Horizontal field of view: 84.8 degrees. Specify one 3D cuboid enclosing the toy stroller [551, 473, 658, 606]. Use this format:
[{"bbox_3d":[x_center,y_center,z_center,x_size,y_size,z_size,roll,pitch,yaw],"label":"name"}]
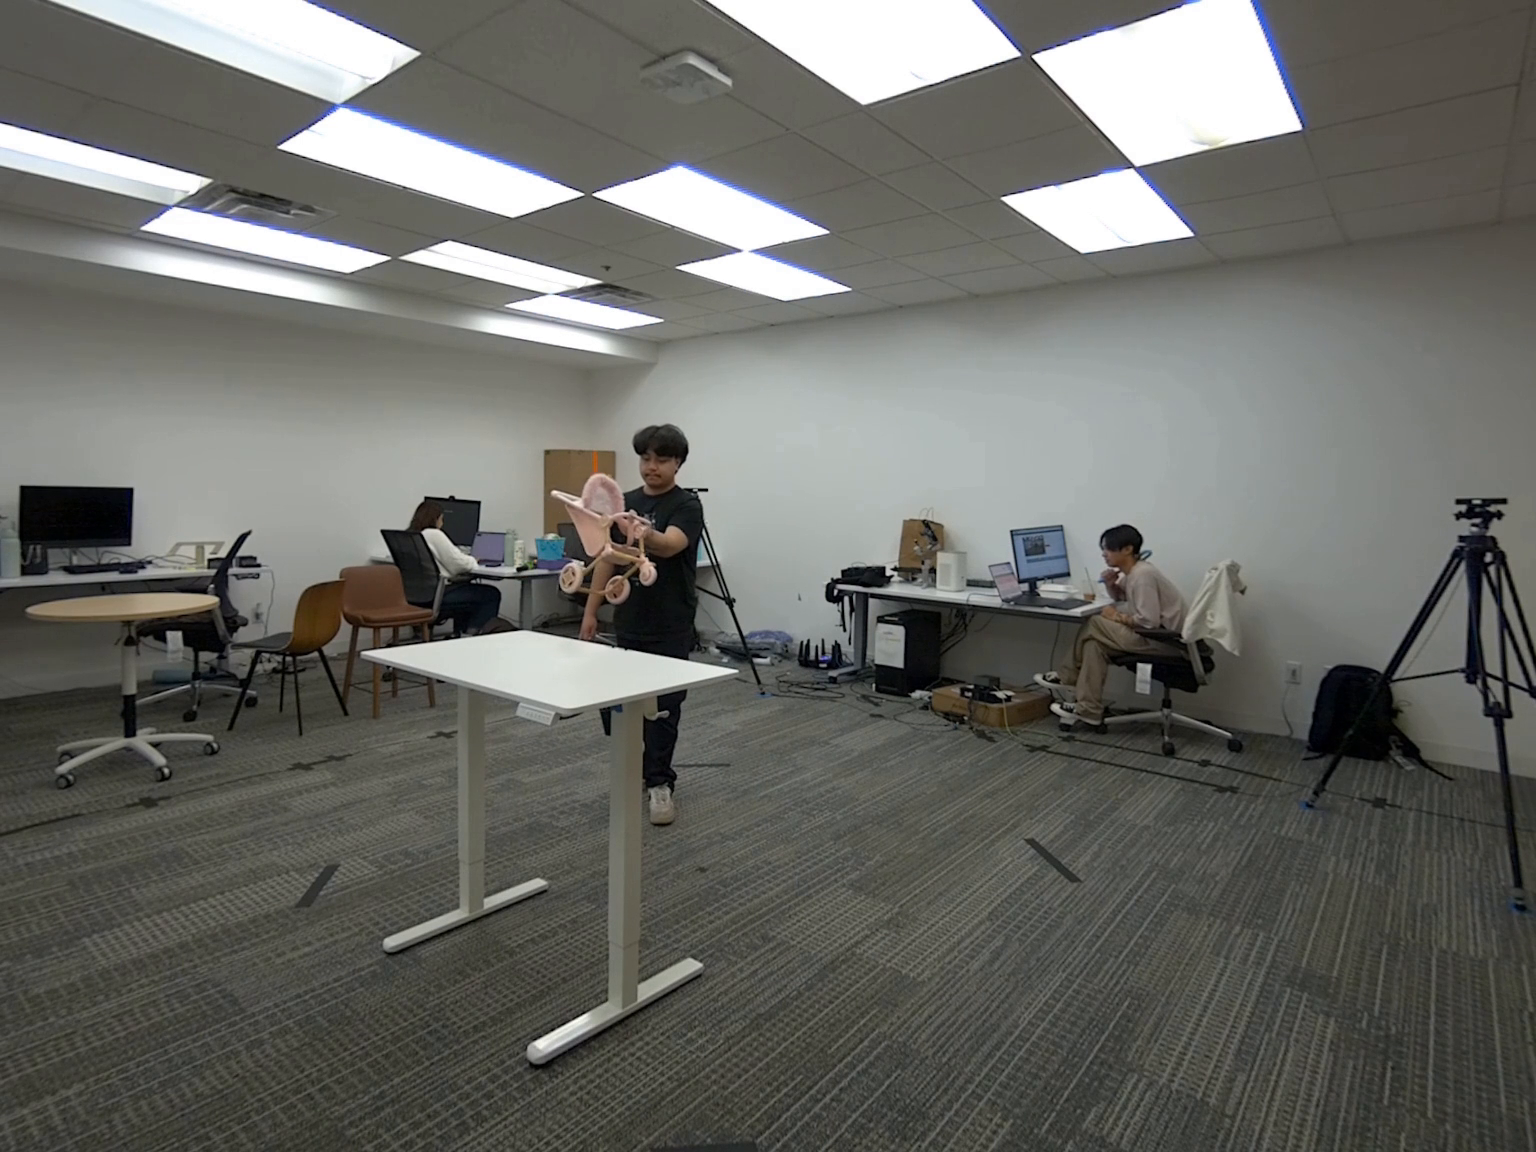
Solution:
[{"bbox_3d":[-0.601,-0.155,3.133,0.345,0.550,0.271,-32,-29,29],"label":"toy stroller"}]
